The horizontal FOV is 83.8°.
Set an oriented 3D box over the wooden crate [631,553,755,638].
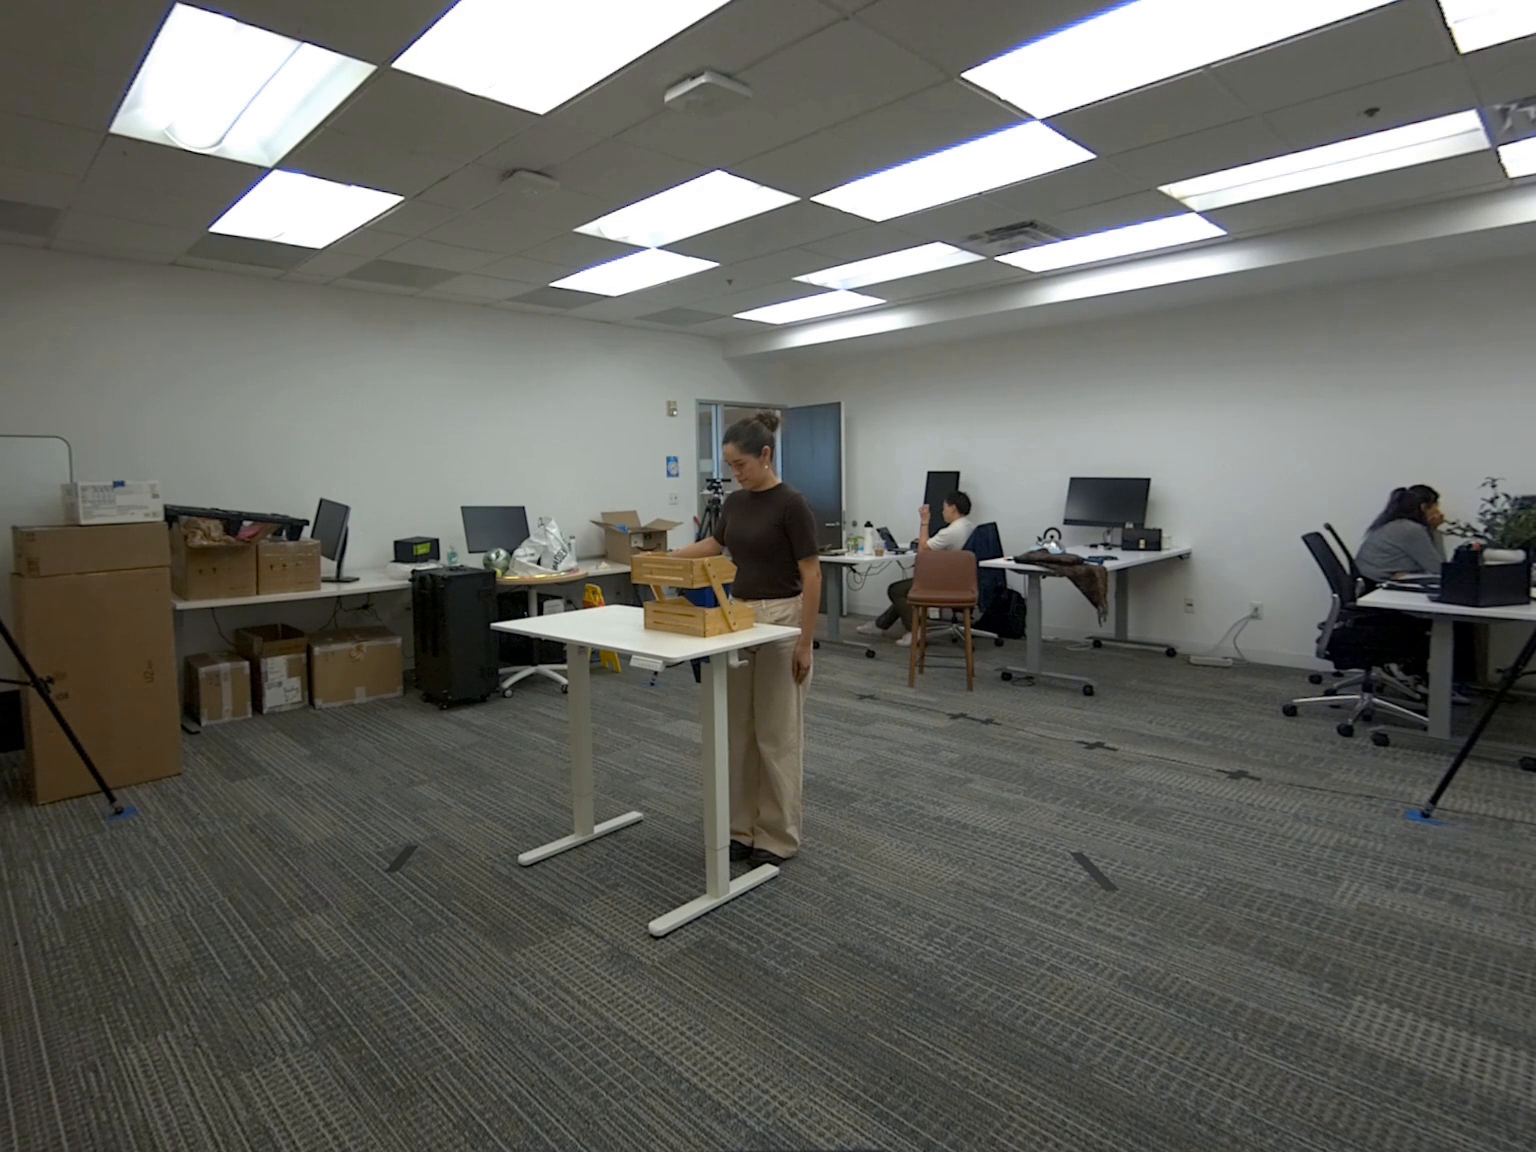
[{"bbox_3d":[-0.252,0.049,2.937,0.334,0.272,0.294,3,7,41],"label":"wooden crate"}]
